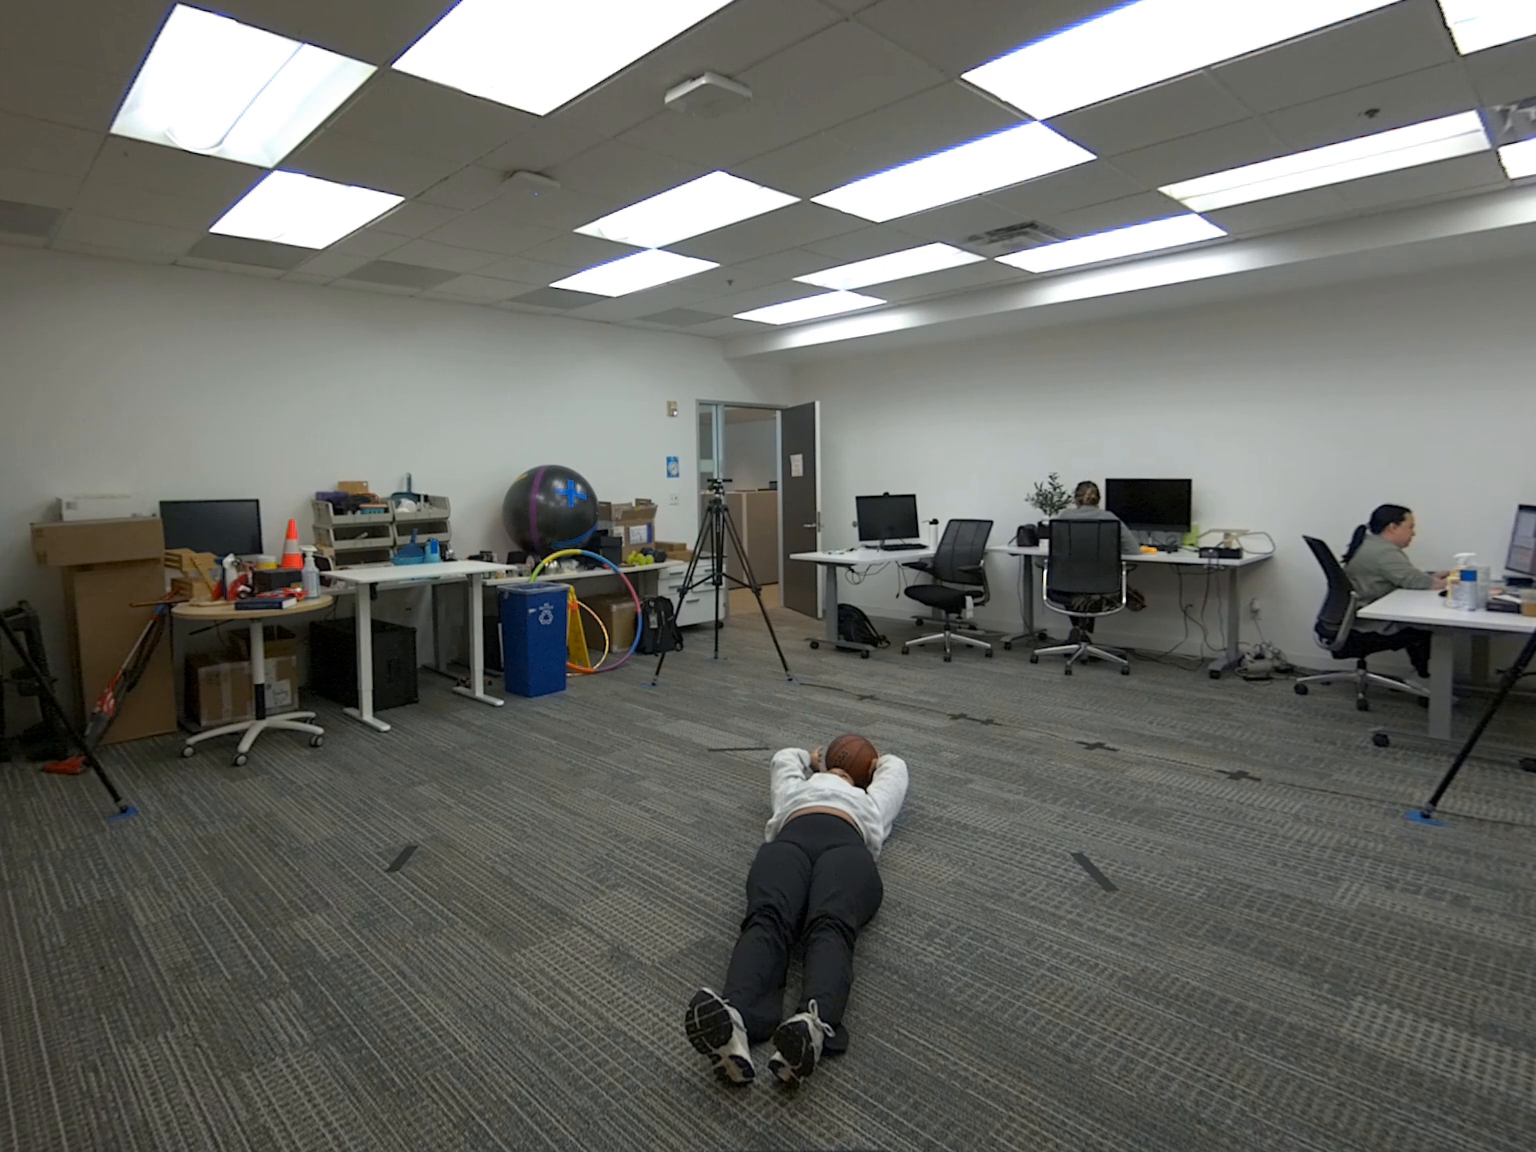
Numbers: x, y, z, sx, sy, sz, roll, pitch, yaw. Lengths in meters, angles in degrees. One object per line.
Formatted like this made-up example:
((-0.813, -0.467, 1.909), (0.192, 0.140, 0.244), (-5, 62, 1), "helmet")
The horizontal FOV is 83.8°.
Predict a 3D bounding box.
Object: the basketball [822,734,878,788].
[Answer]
((0.380, 0.834, 3.851), (0.236, 0.235, 0.237), (-1, 4, -2), "basketball")
